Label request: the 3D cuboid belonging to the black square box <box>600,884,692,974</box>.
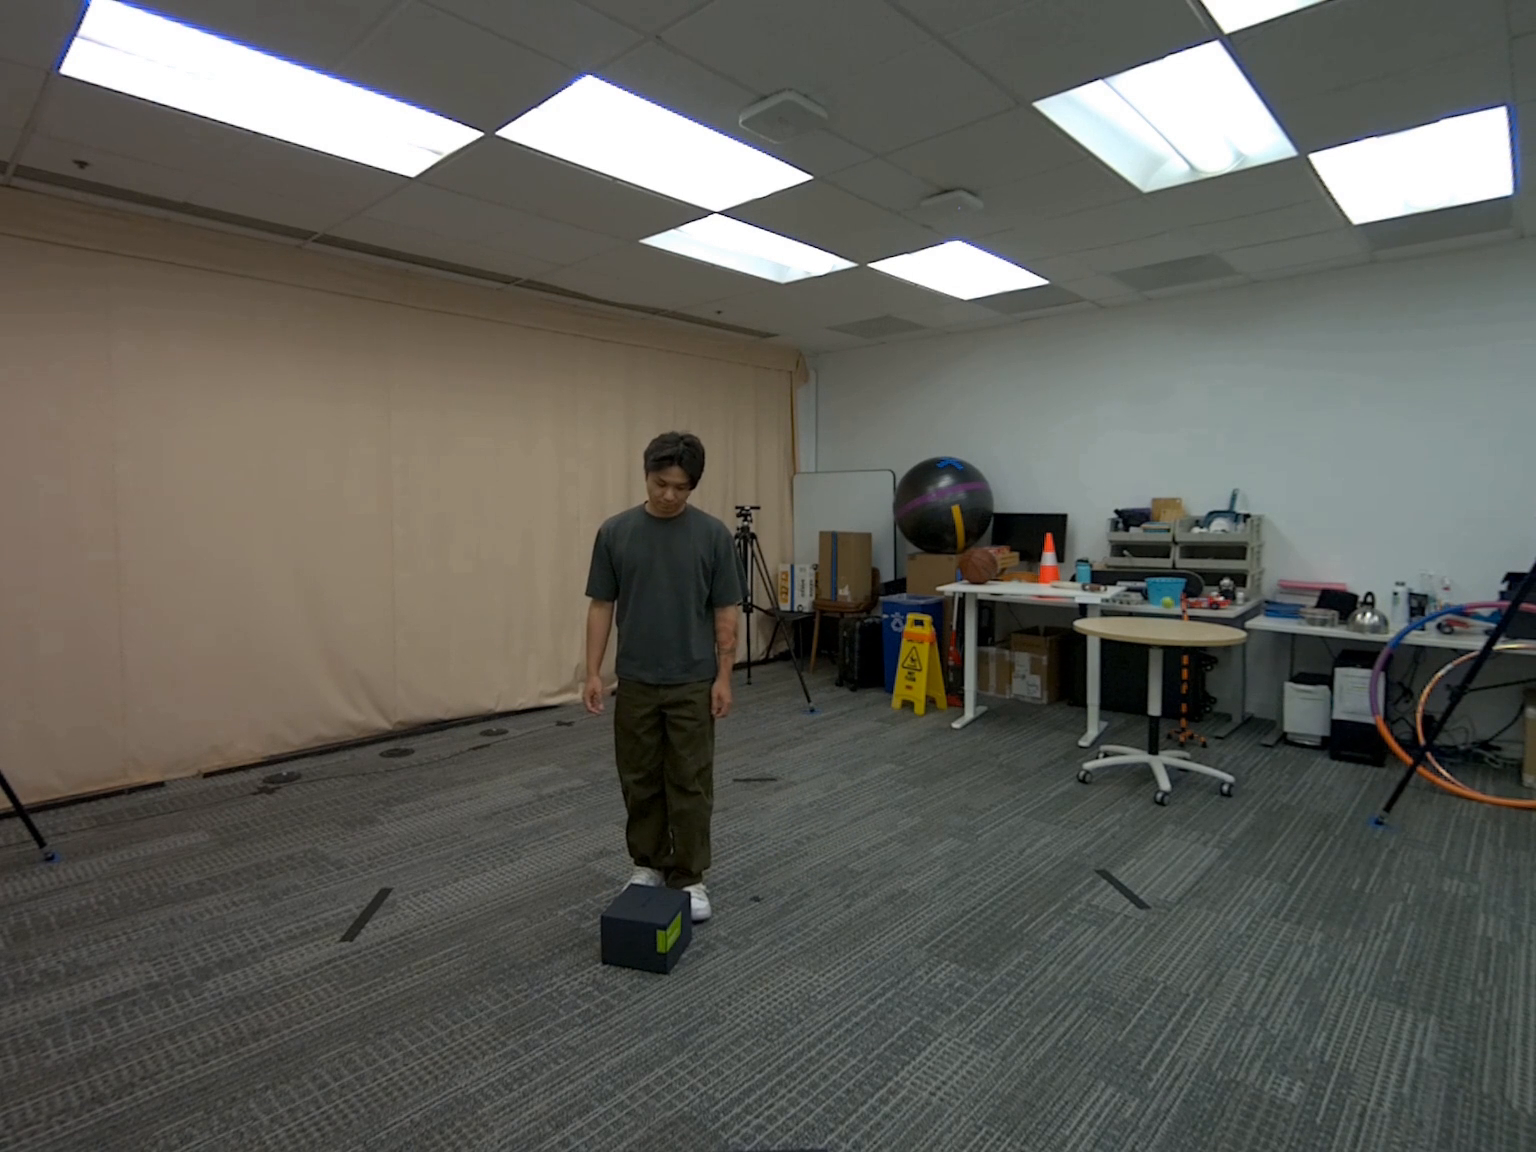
[{"bbox_3d":[-0.377,1.082,2.630,0.221,0.155,0.224,1,4,16],"label":"black square box"}]
